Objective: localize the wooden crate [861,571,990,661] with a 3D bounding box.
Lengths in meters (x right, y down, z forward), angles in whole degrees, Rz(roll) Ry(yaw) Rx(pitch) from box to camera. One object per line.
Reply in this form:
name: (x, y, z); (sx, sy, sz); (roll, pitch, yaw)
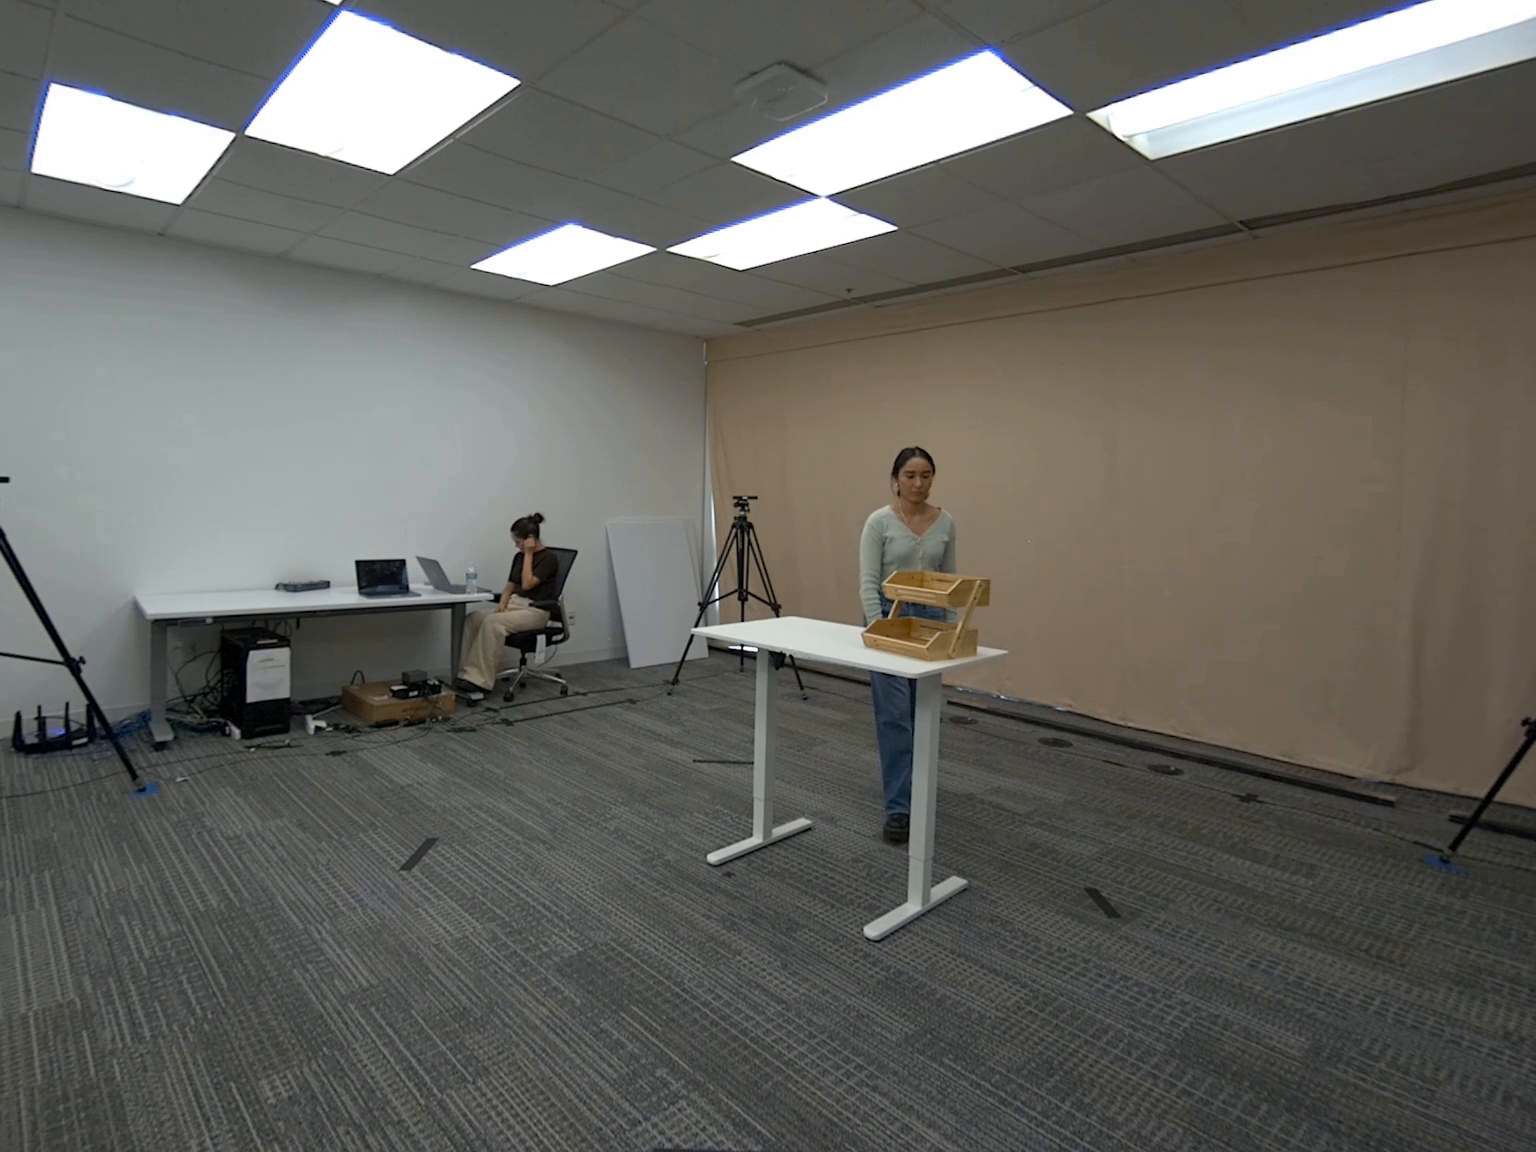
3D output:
wooden crate: (0.529, 0.127, 2.890); (0.295, 0.272, 0.332); (0, 5, -35)
